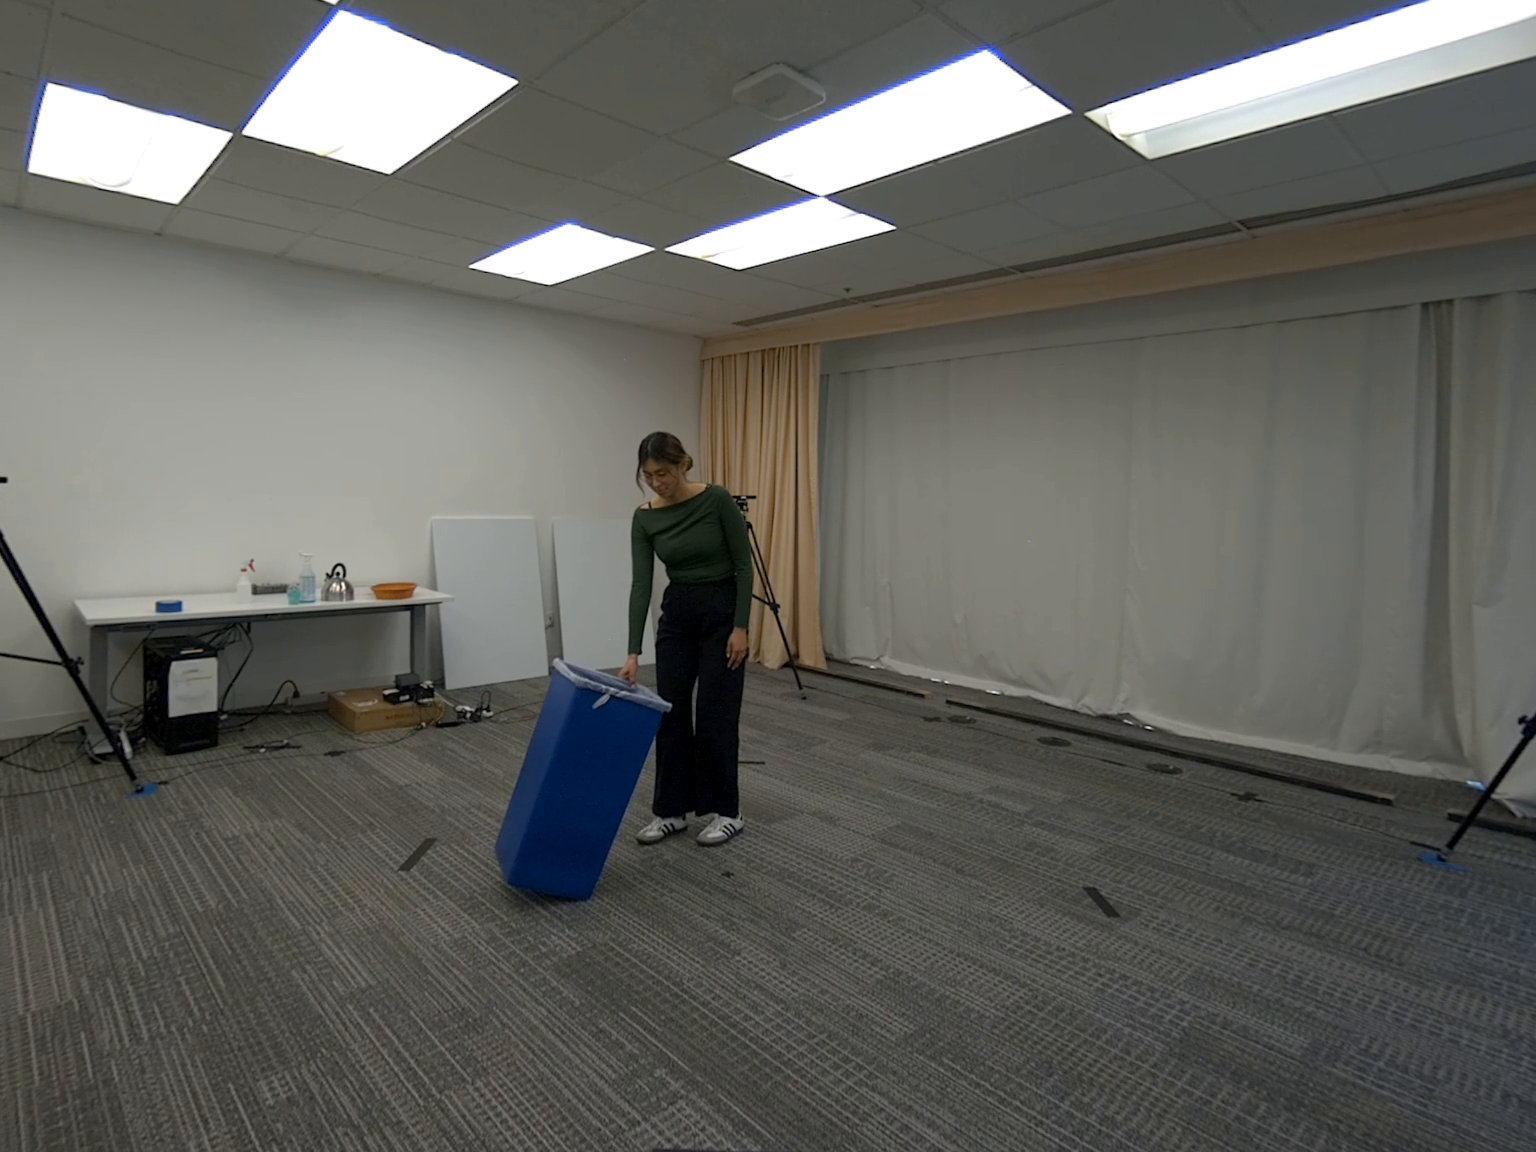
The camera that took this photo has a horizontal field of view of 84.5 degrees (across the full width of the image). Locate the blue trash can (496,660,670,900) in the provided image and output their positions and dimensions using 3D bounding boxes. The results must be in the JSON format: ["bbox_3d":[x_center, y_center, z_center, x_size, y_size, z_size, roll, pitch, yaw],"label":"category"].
[{"bbox_3d":[-0.688,0.714,2.975,0.365,0.715,0.386,22,-6,-27],"label":"blue trash can"}]
